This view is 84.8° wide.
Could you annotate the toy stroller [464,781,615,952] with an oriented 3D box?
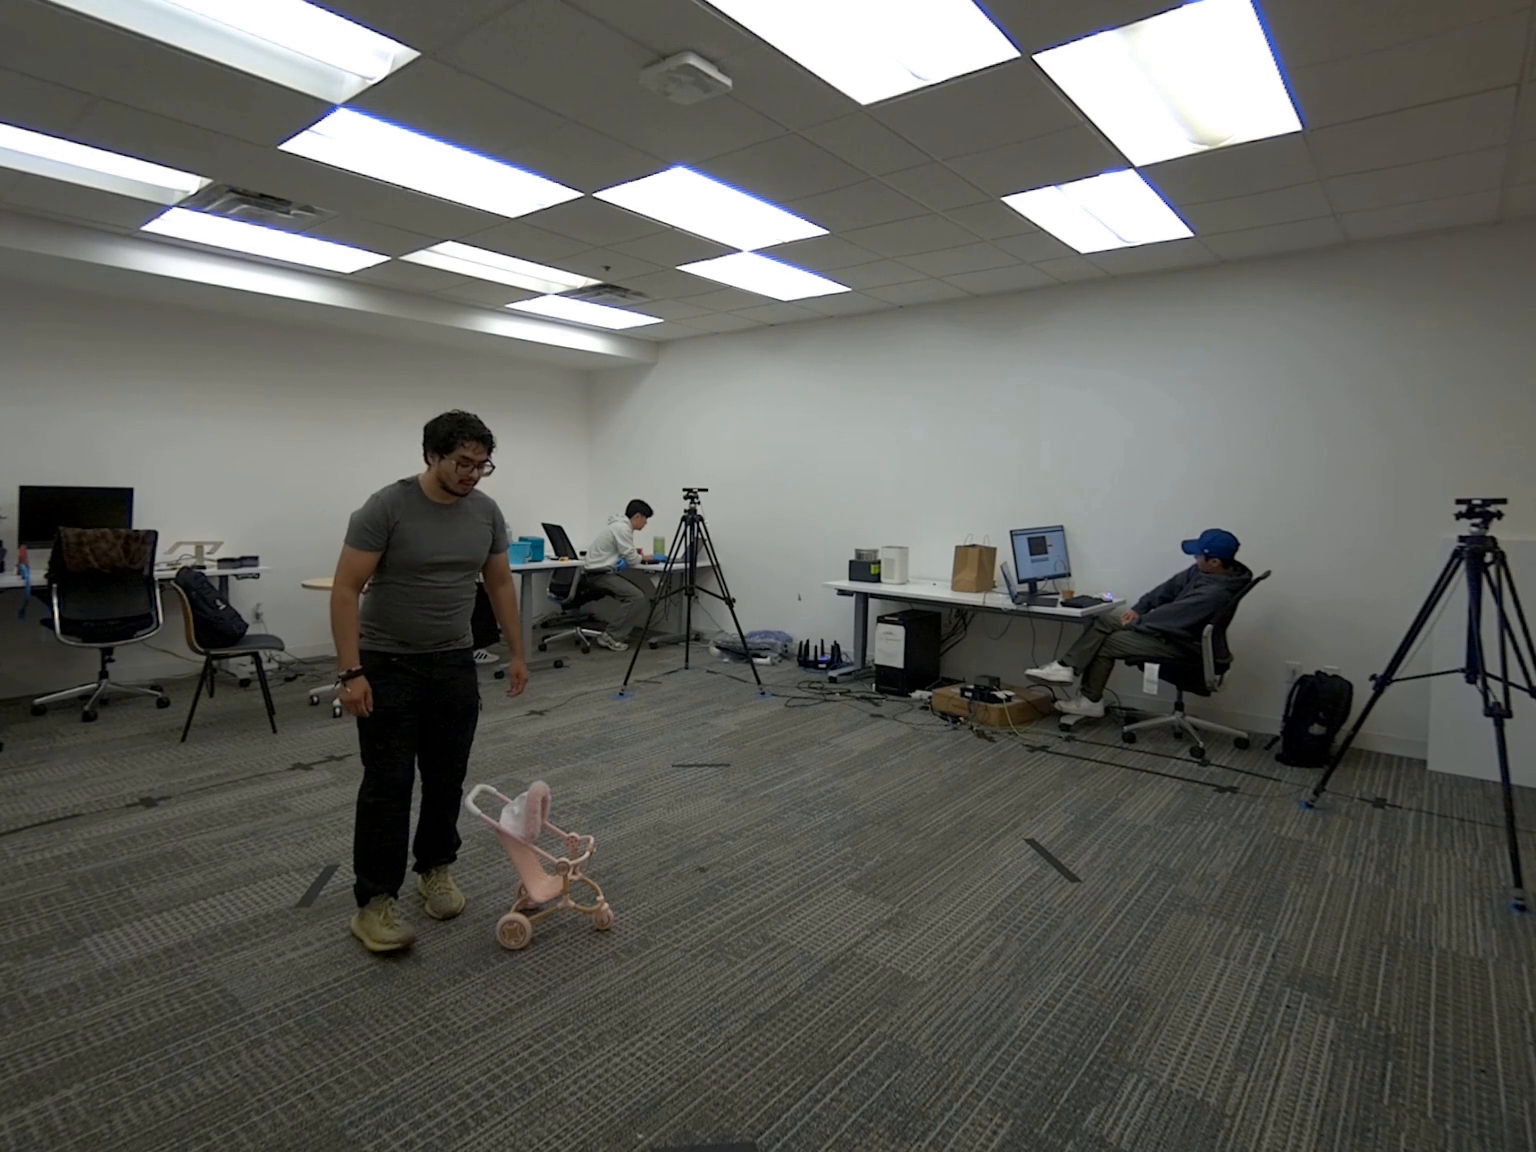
[{"bbox_3d":[-0.713,0.885,2.655,0.342,0.533,0.281,-15,3,3],"label":"toy stroller"}]
